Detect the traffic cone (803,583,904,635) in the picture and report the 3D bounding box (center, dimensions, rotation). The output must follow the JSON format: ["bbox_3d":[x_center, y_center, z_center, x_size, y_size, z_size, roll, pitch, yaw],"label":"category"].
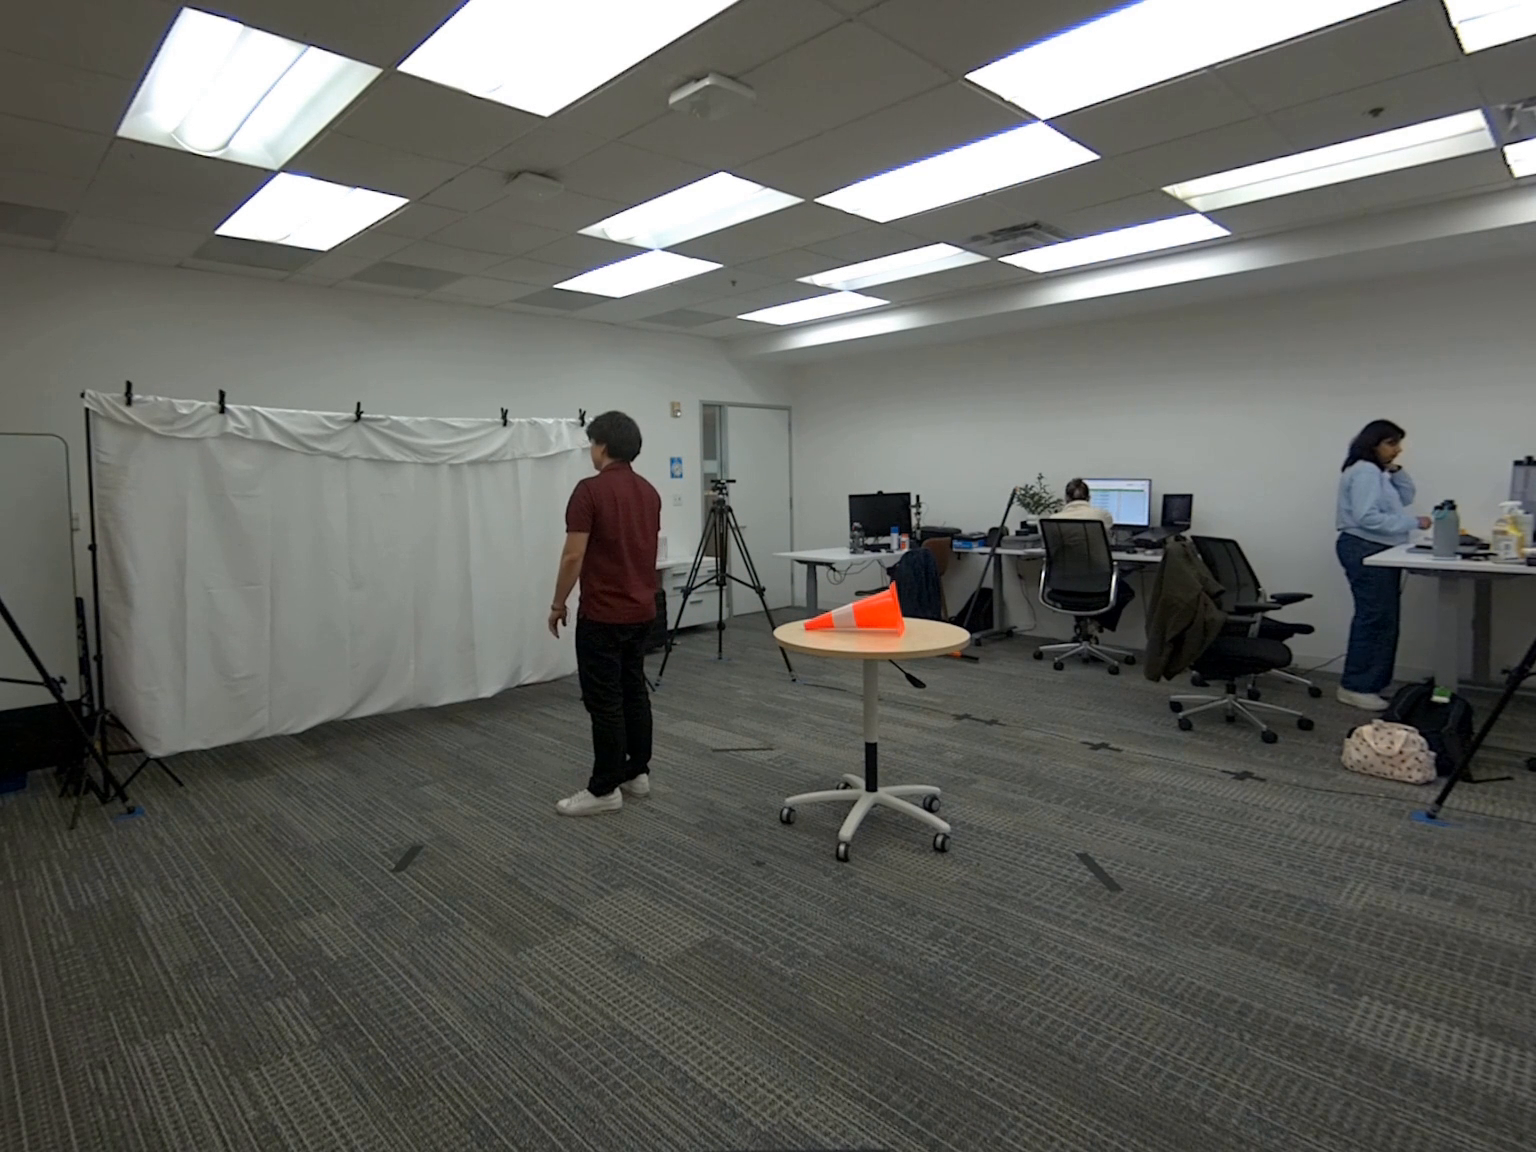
[{"bbox_3d":[0.330,0.155,3.427,0.388,0.206,0.200,-10,-3,13],"label":"traffic cone"}]
